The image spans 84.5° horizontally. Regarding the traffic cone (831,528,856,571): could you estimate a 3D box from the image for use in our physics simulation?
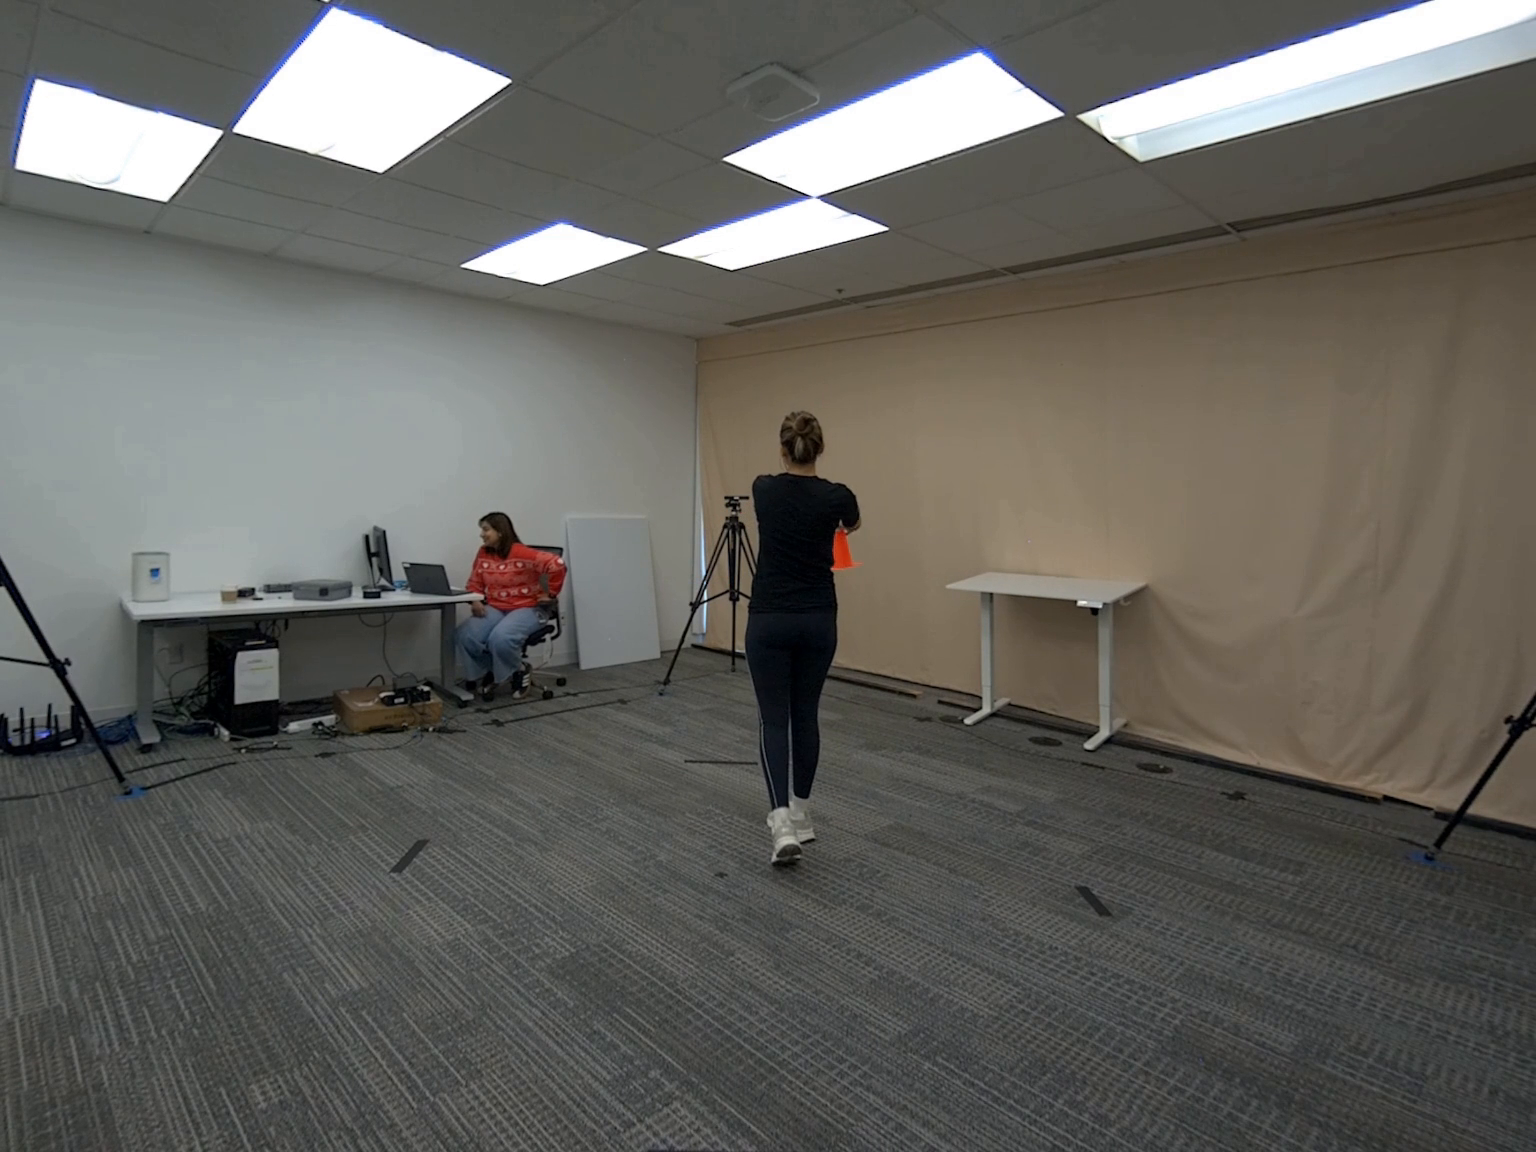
[{"bbox_3d":[0.289,-0.232,3.948,0.203,0.382,0.206,-7,6,-13],"label":"traffic cone"}]
